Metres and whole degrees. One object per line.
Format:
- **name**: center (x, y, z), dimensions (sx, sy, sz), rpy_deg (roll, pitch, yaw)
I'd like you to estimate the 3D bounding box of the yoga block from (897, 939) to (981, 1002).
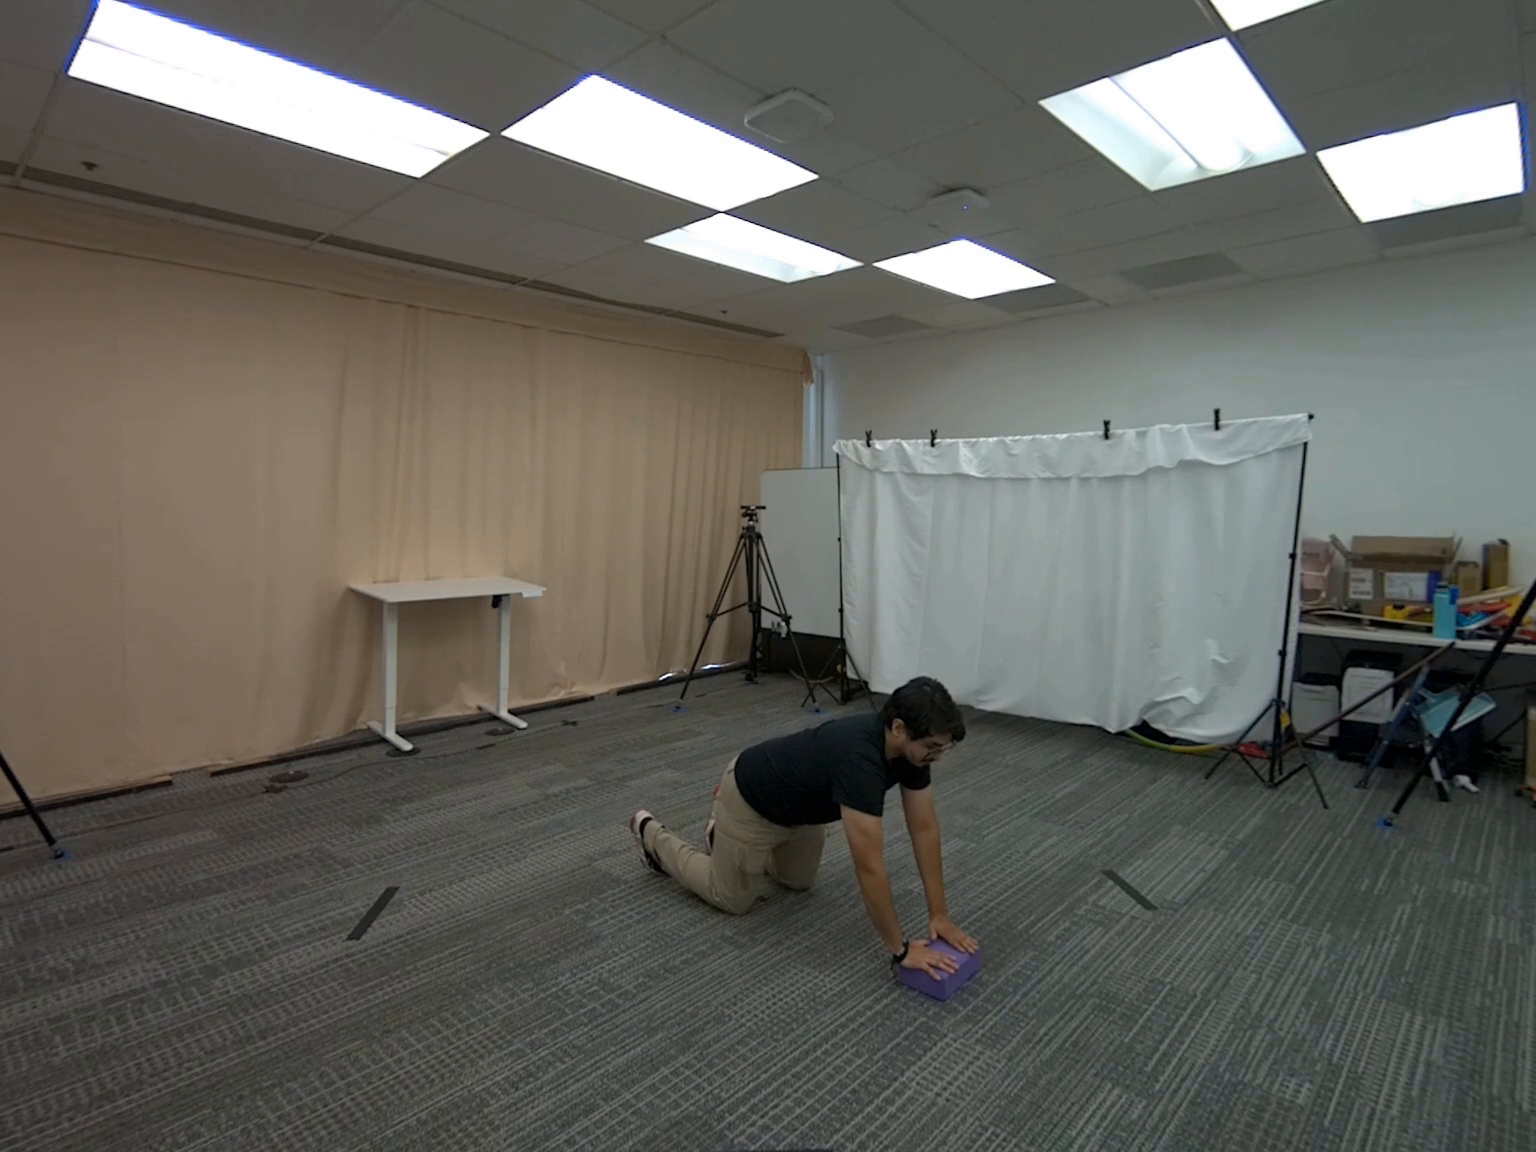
- **yoga block**: center (0.514, 1.142, 2.483), dimensions (0.154, 0.076, 0.222), rpy_deg (6, 8, 41)
